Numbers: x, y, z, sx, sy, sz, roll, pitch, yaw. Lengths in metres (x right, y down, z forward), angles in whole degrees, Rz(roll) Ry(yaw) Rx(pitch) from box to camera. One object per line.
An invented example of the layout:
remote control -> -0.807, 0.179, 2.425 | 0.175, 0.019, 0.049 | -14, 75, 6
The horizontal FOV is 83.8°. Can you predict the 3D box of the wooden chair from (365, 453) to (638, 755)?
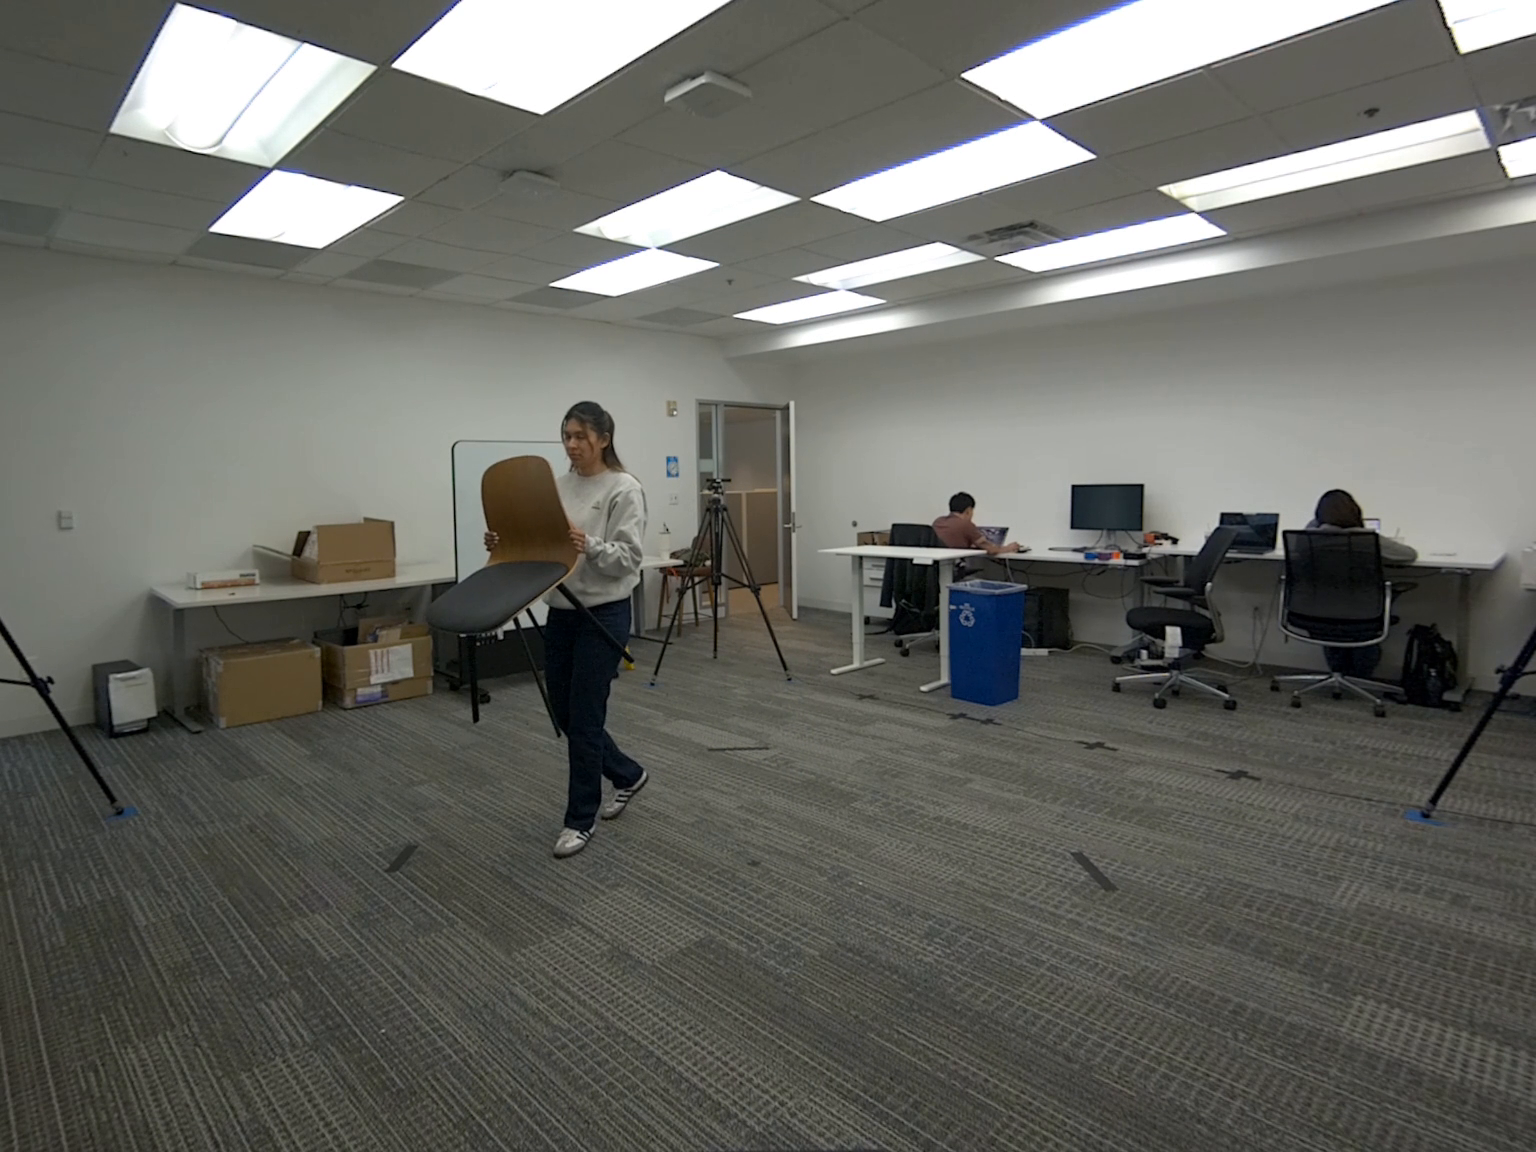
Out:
wooden chair -> -0.915, 0.073, 3.035 | 0.491, 0.860, 0.519 | 1, 24, 34
